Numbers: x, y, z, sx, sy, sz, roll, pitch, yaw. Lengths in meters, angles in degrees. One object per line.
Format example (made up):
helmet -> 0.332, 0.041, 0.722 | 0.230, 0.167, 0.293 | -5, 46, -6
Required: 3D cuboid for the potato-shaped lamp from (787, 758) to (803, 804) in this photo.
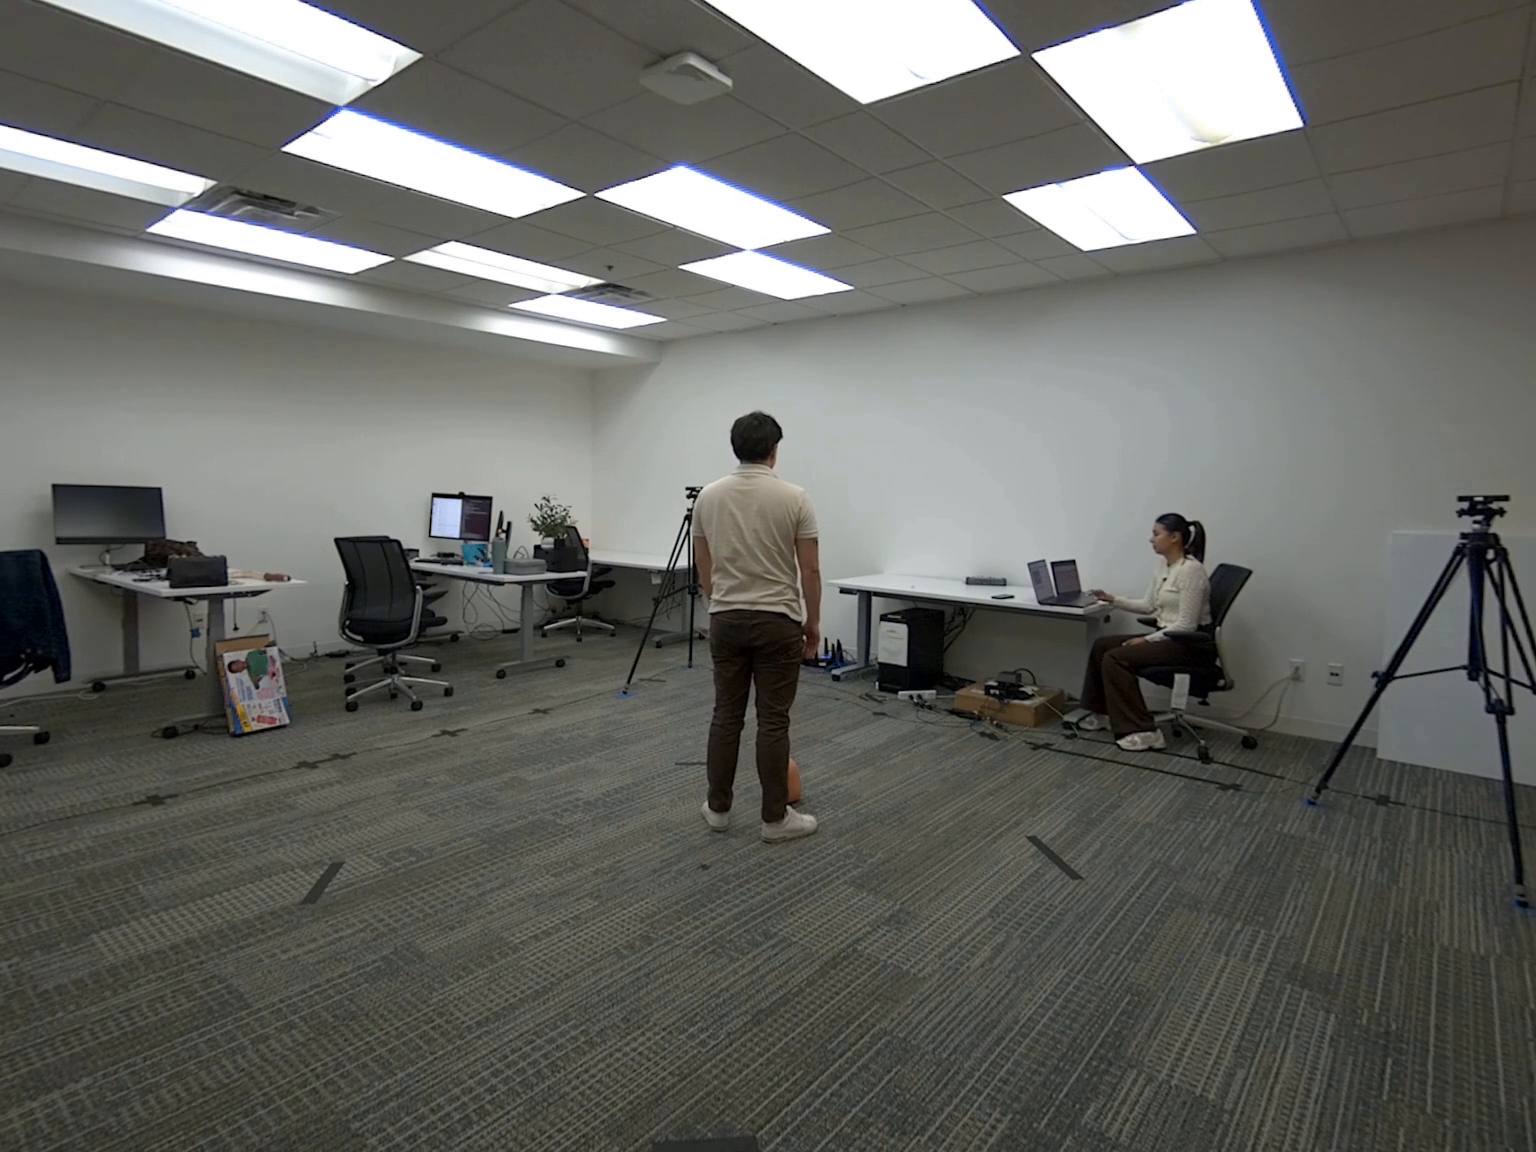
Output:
potato-shaped lamp -> 0.064, 0.901, 3.805 | 0.169, 0.197, 0.167 | 6, 5, 25
